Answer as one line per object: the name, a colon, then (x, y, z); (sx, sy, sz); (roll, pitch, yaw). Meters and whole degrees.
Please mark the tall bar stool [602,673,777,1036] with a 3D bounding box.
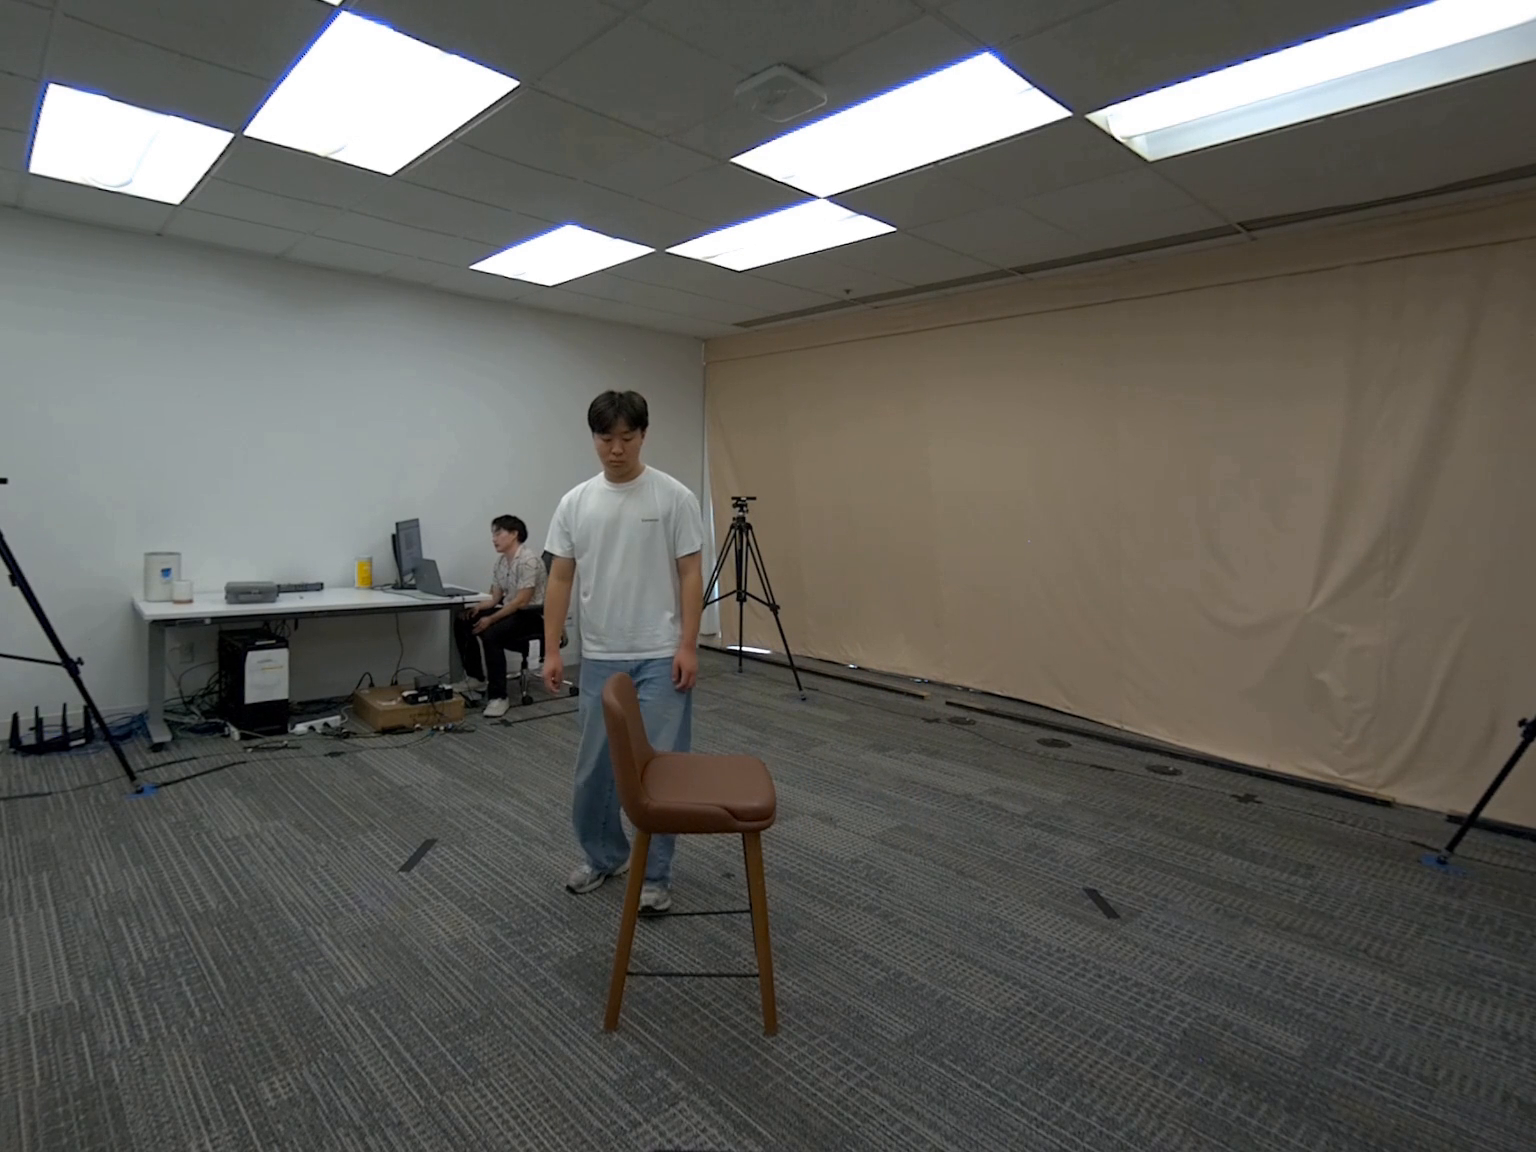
tall bar stool: (-0.221, 0.740, 2.350); (0.466, 0.887, 0.459); (-1, 4, -4)
